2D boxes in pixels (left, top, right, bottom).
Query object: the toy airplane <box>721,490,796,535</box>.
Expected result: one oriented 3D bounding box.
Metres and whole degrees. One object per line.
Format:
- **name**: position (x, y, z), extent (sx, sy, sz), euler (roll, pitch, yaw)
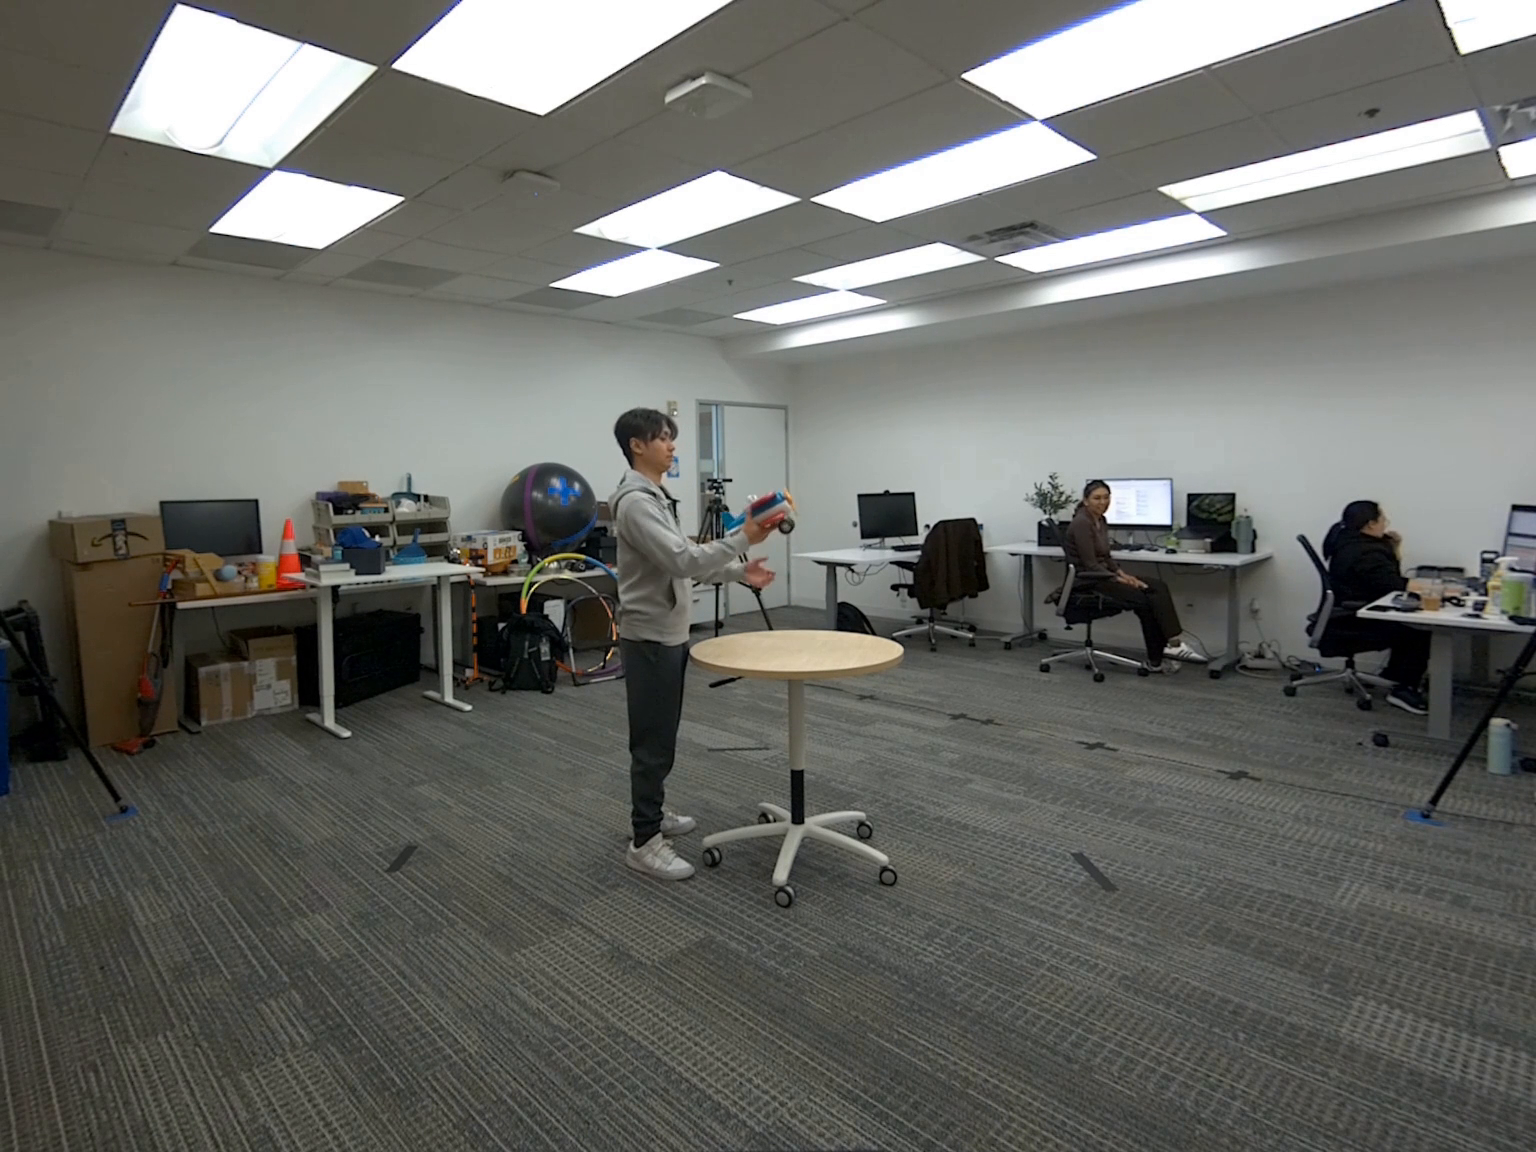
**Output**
- **toy airplane**: position (-0.027, -0.219, 2.998), extent (0.255, 0.156, 0.255), euler (-16, 4, -22)
